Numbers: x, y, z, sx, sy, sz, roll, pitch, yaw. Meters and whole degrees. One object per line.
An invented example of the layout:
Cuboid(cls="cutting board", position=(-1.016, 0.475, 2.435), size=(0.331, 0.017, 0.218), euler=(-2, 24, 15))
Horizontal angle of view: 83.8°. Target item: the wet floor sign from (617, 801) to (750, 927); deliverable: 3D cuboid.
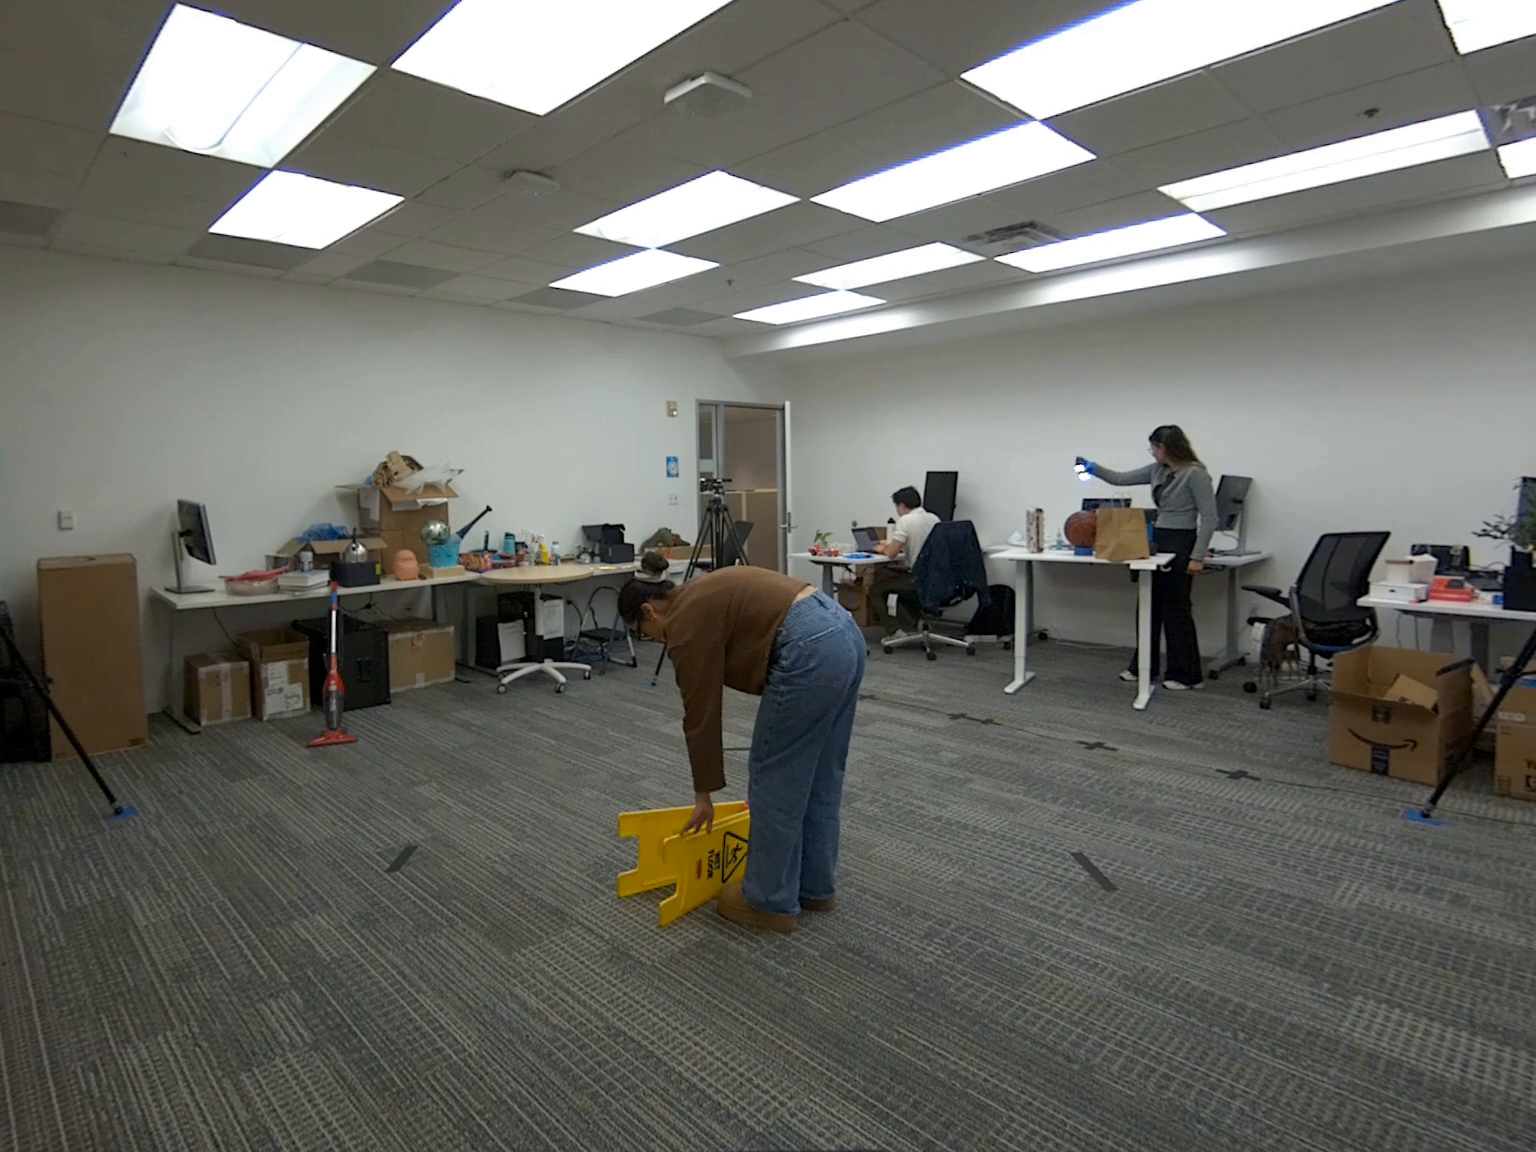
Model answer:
Cuboid(cls="wet floor sign", position=(-0.177, 0.936, 2.966), size=(0.628, 0.281, 0.298), euler=(-3, 5, -40))
